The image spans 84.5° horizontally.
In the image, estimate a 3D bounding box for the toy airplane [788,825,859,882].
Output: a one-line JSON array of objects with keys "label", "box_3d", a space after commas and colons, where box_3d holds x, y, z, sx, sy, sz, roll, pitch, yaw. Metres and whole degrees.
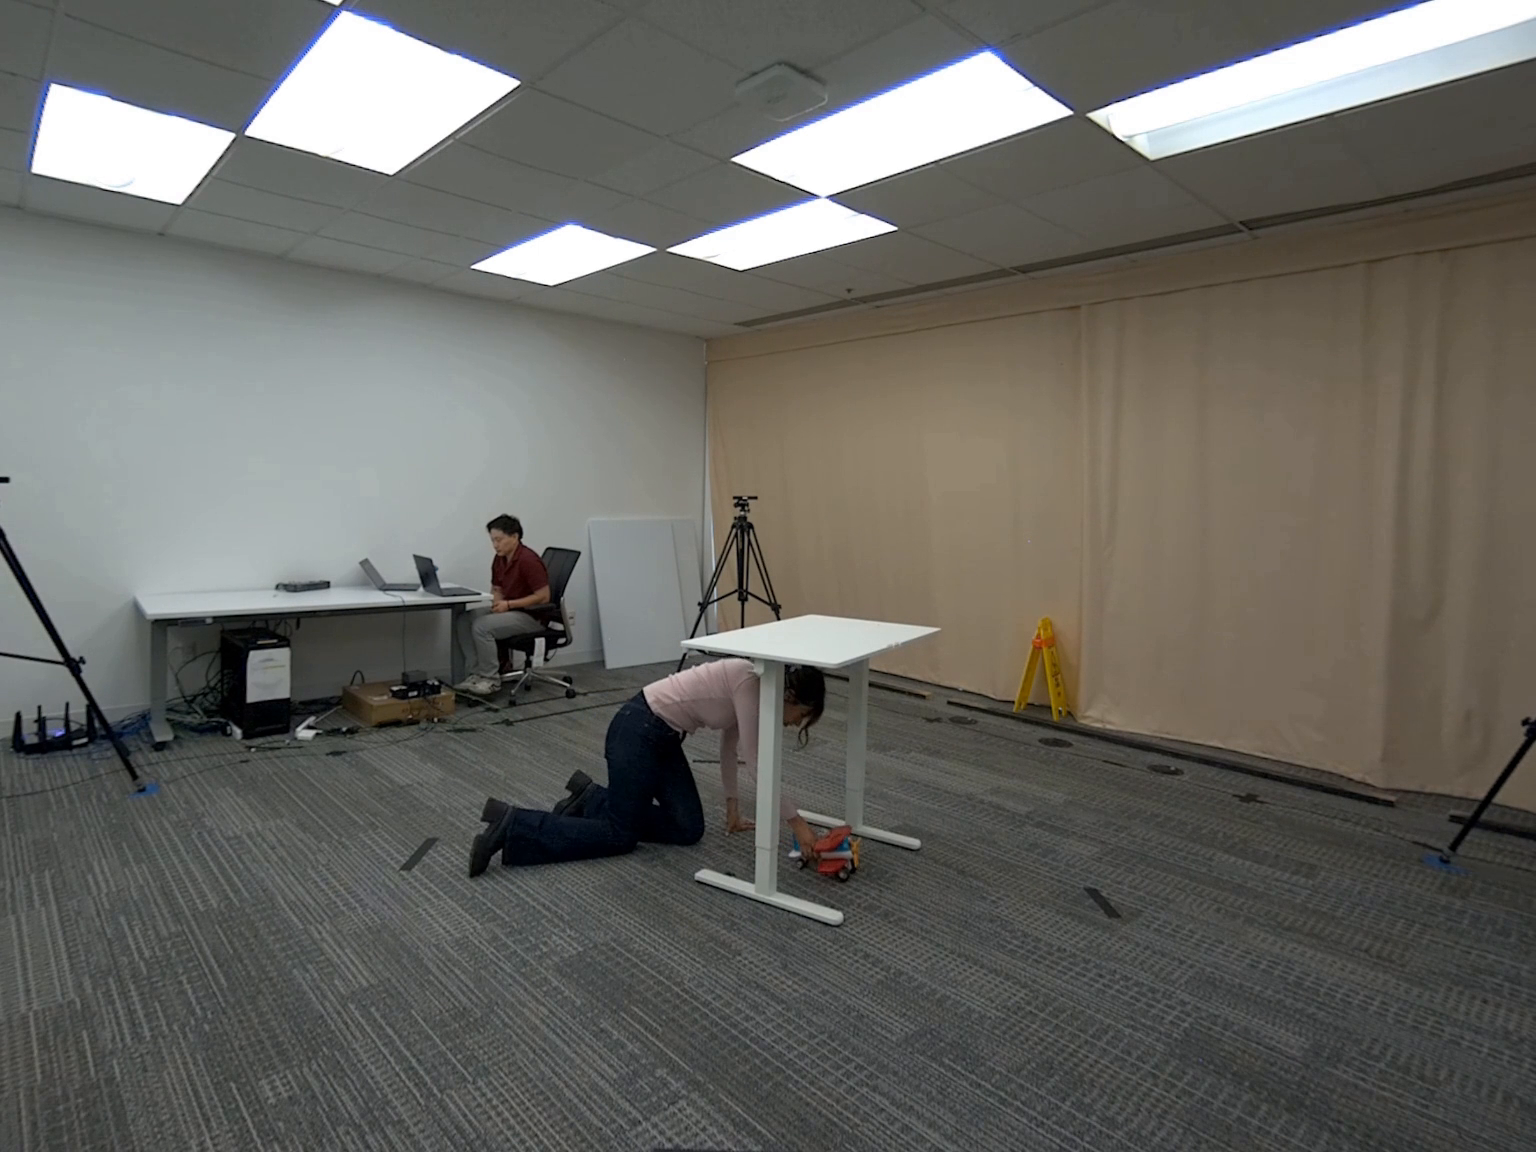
[{"label": "toy airplane", "box_3d": [0.200, 1.033, 3.121, 0.259, 0.156, 0.252, 3, 4, -3]}]
